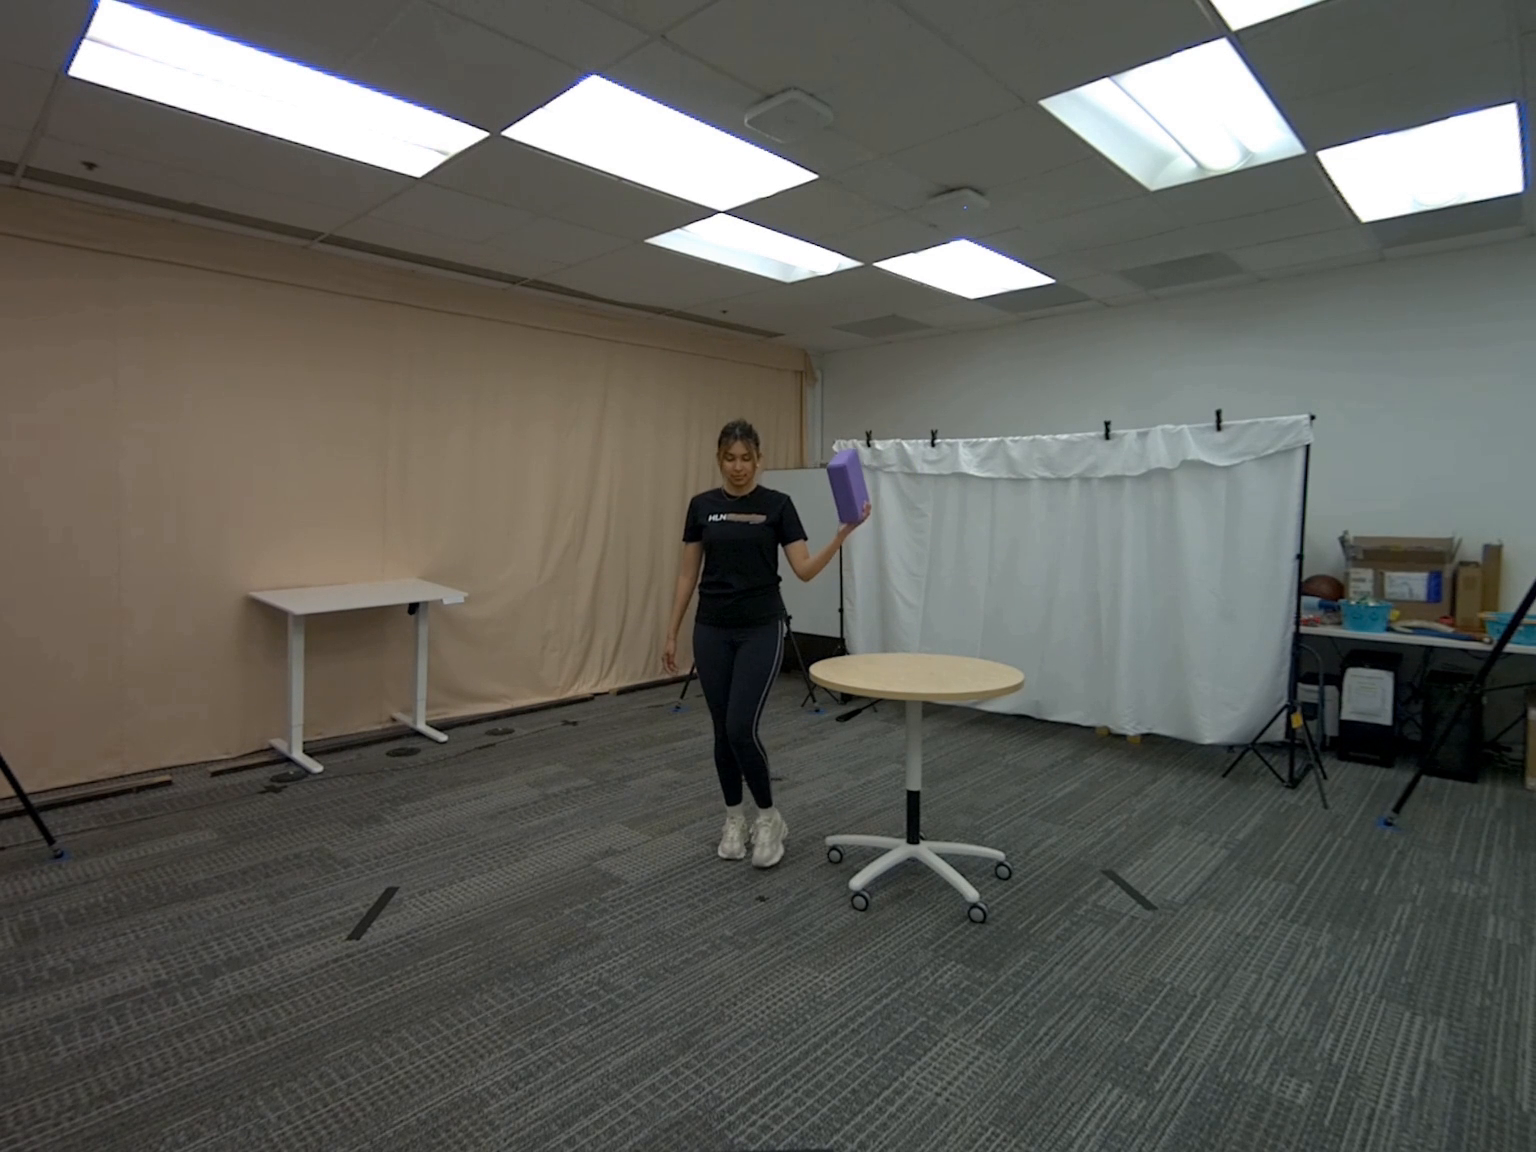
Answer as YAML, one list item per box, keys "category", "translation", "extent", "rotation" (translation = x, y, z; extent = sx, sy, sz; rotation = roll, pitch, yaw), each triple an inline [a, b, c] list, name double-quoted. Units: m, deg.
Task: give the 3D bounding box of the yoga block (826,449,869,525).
- category: "yoga block"
  translation: [0.285, -0.322, 3.022]
  extent: [0.078, 0.225, 0.148]
  rotation: [-4, 26, 28]
